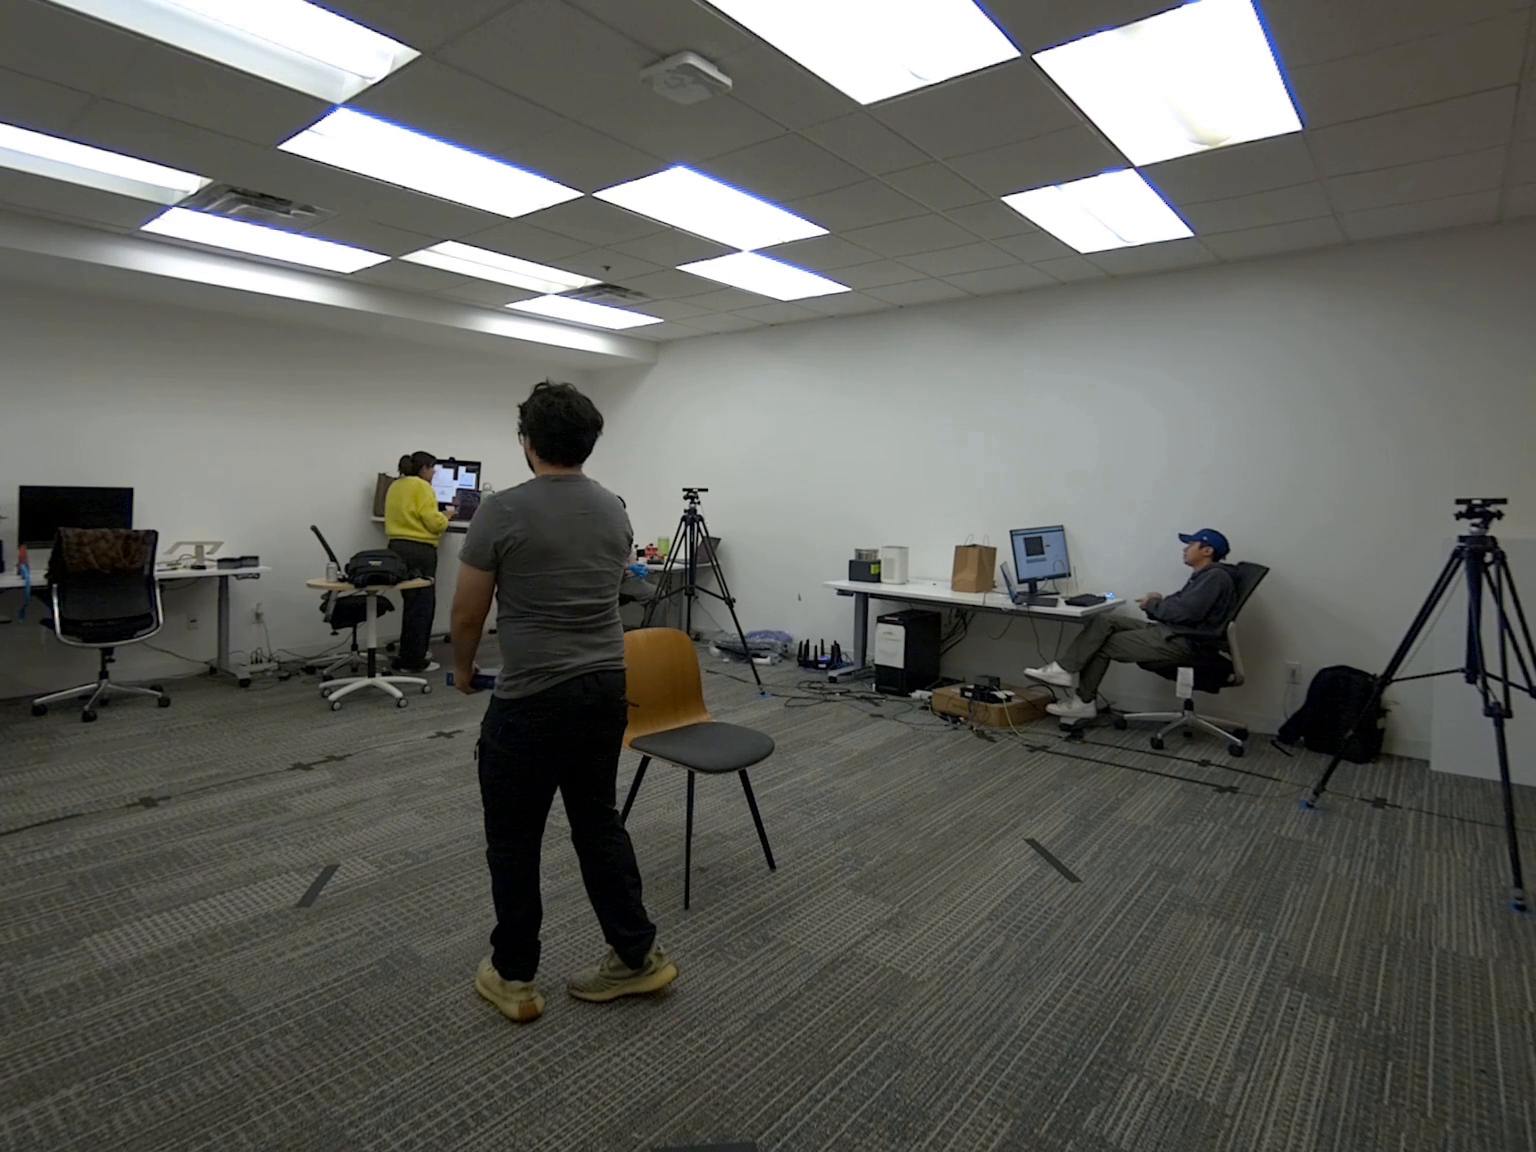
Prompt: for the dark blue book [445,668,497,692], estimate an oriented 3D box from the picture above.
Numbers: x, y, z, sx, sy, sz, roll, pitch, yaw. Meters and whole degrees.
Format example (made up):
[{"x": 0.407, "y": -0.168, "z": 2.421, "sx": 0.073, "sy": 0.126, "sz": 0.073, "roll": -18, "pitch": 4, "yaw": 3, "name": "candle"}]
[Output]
[{"x": -0.809, "y": 0.303, "z": 2.490, "sx": 0.252, "sy": 0.045, "sz": 0.158, "roll": -2, "pitch": -2, "yaw": 34, "name": "dark blue book"}]
